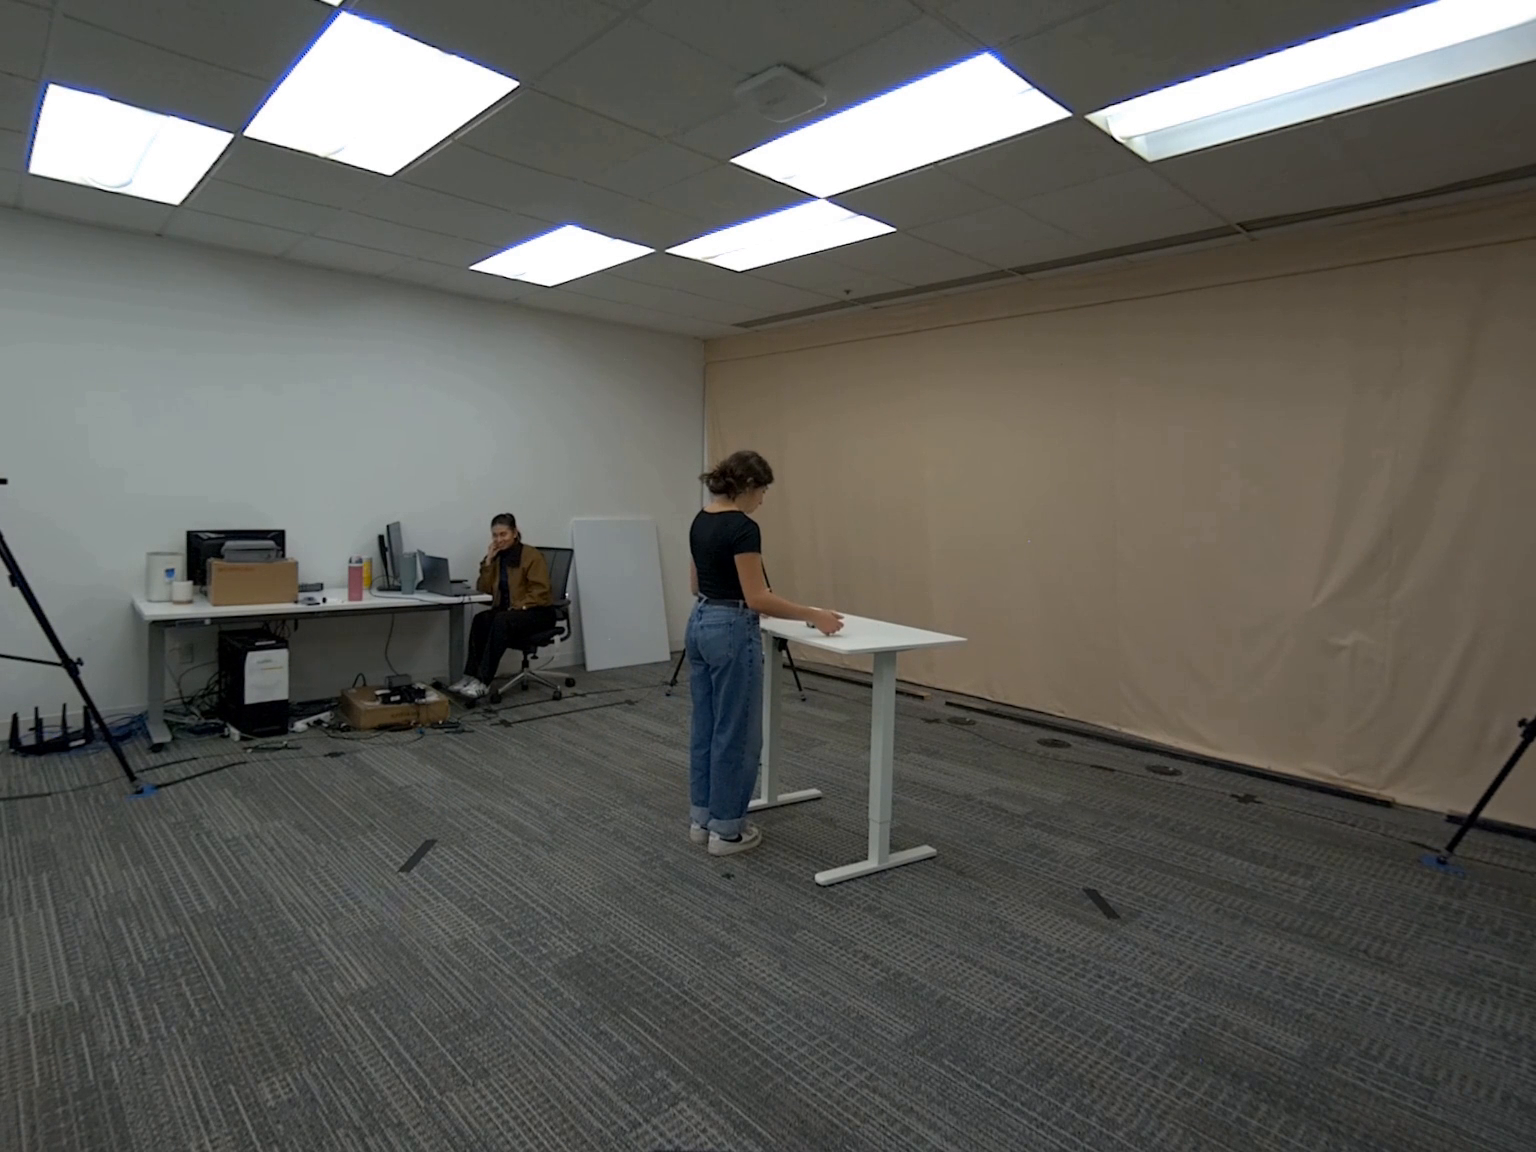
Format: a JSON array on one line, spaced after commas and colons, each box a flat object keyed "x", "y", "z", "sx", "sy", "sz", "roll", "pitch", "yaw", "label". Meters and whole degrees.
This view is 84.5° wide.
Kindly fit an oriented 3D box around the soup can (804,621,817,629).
[{"x": 0.215, "y": 0.173, "z": 3.410, "sx": 0.119, "sy": 0.067, "sz": 0.068, "roll": 2, "pitch": 4, "yaw": -20, "label": "soup can"}]
